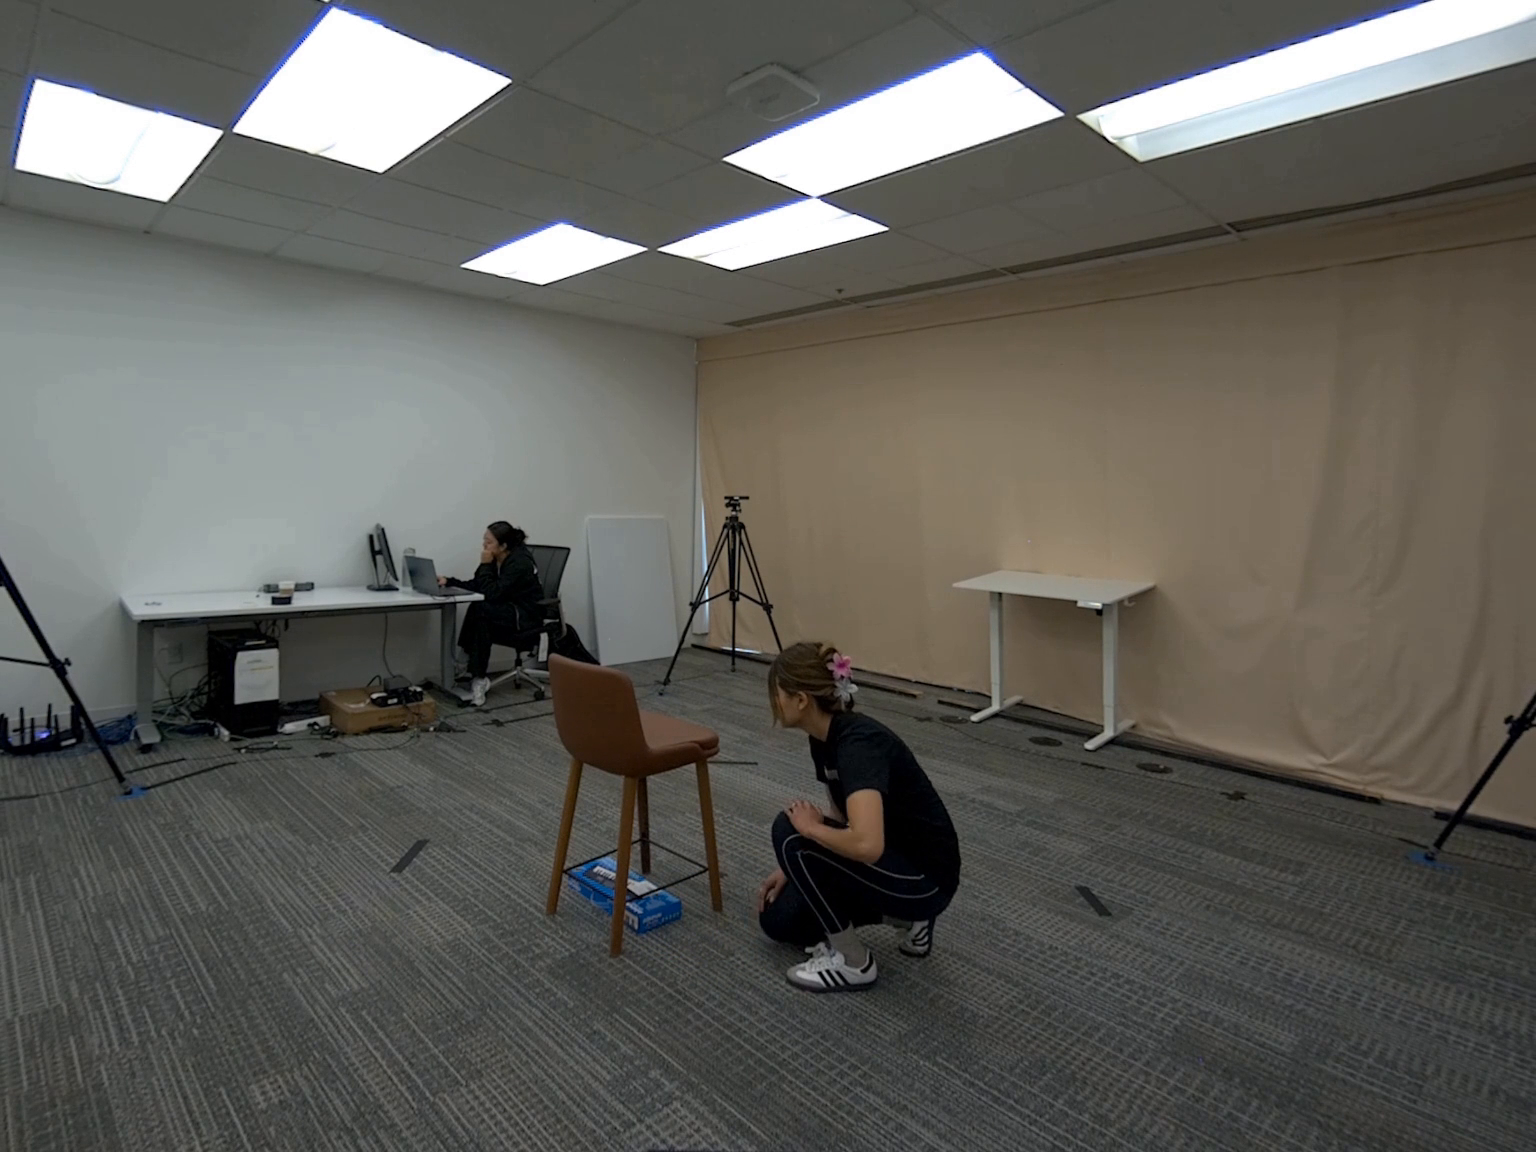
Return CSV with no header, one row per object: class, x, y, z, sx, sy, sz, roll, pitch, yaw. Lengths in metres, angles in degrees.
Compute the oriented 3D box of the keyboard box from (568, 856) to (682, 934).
keyboard box,-0.501,1.079,2.889,0.172,0.059,0.448,-3,7,-44
